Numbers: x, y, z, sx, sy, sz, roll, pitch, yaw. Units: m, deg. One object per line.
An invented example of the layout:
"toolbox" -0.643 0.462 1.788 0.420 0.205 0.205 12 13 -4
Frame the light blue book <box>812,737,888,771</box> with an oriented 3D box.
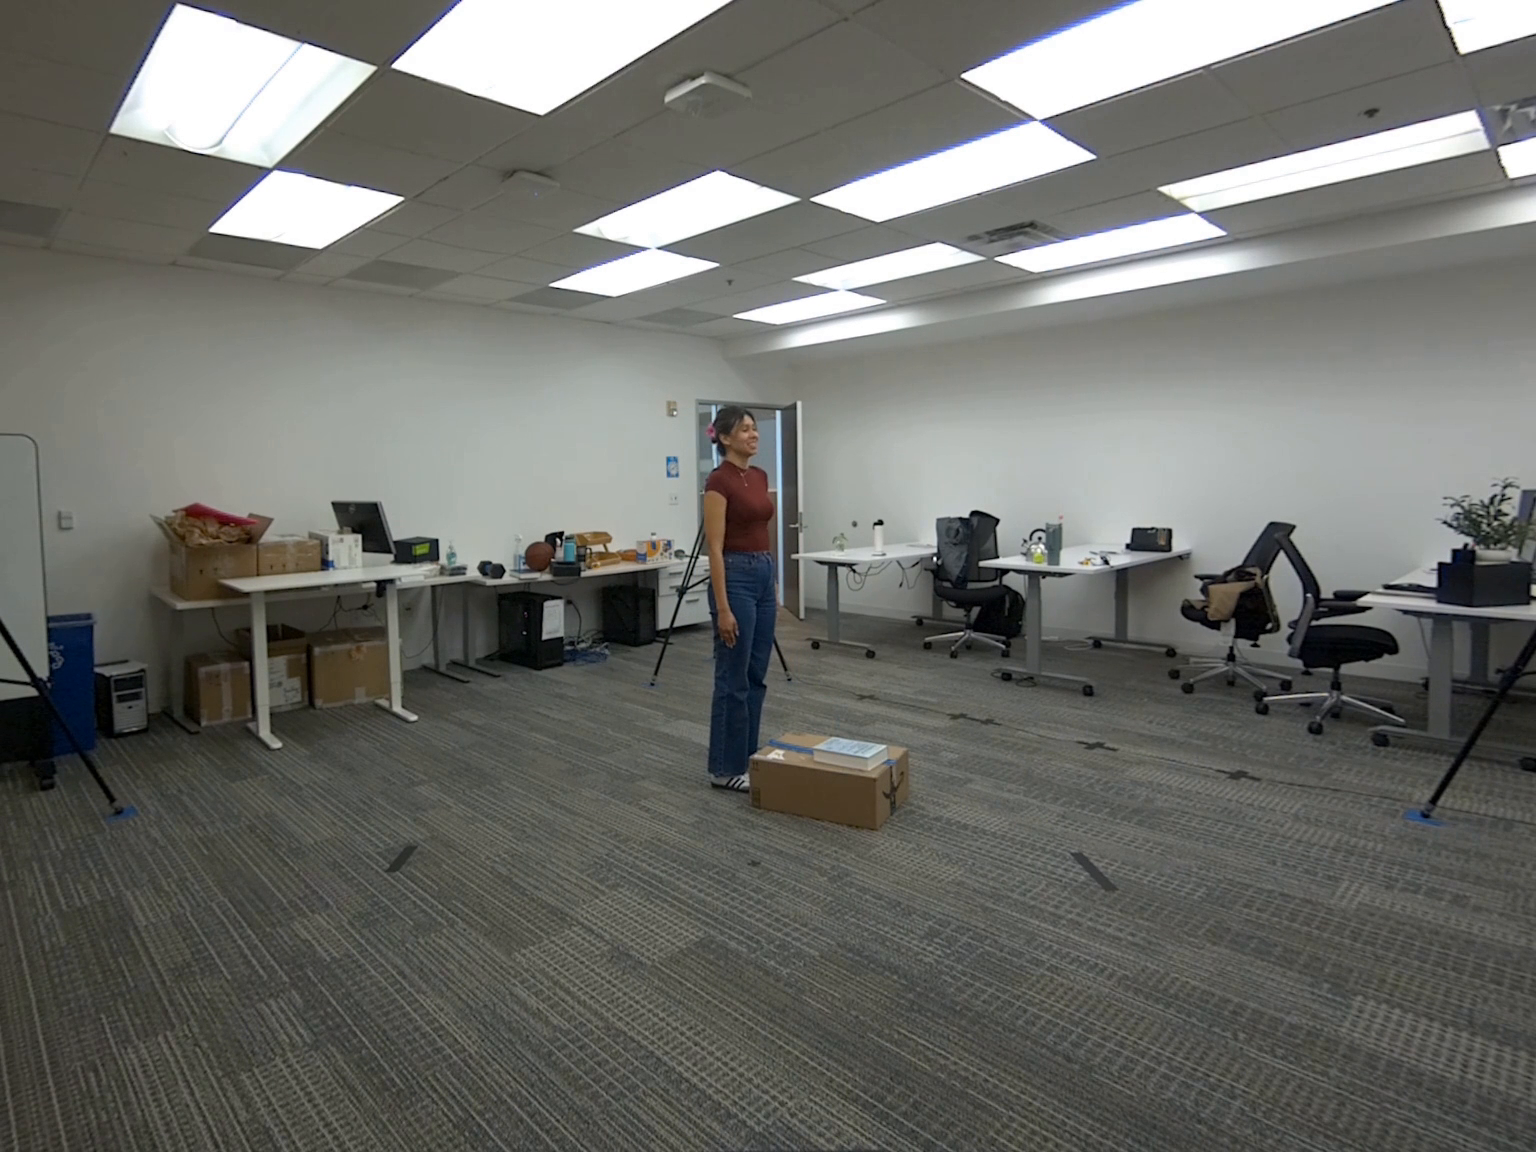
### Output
"light blue book" 0.344 0.738 3.596 0.268 0.059 0.187 2 7 35
